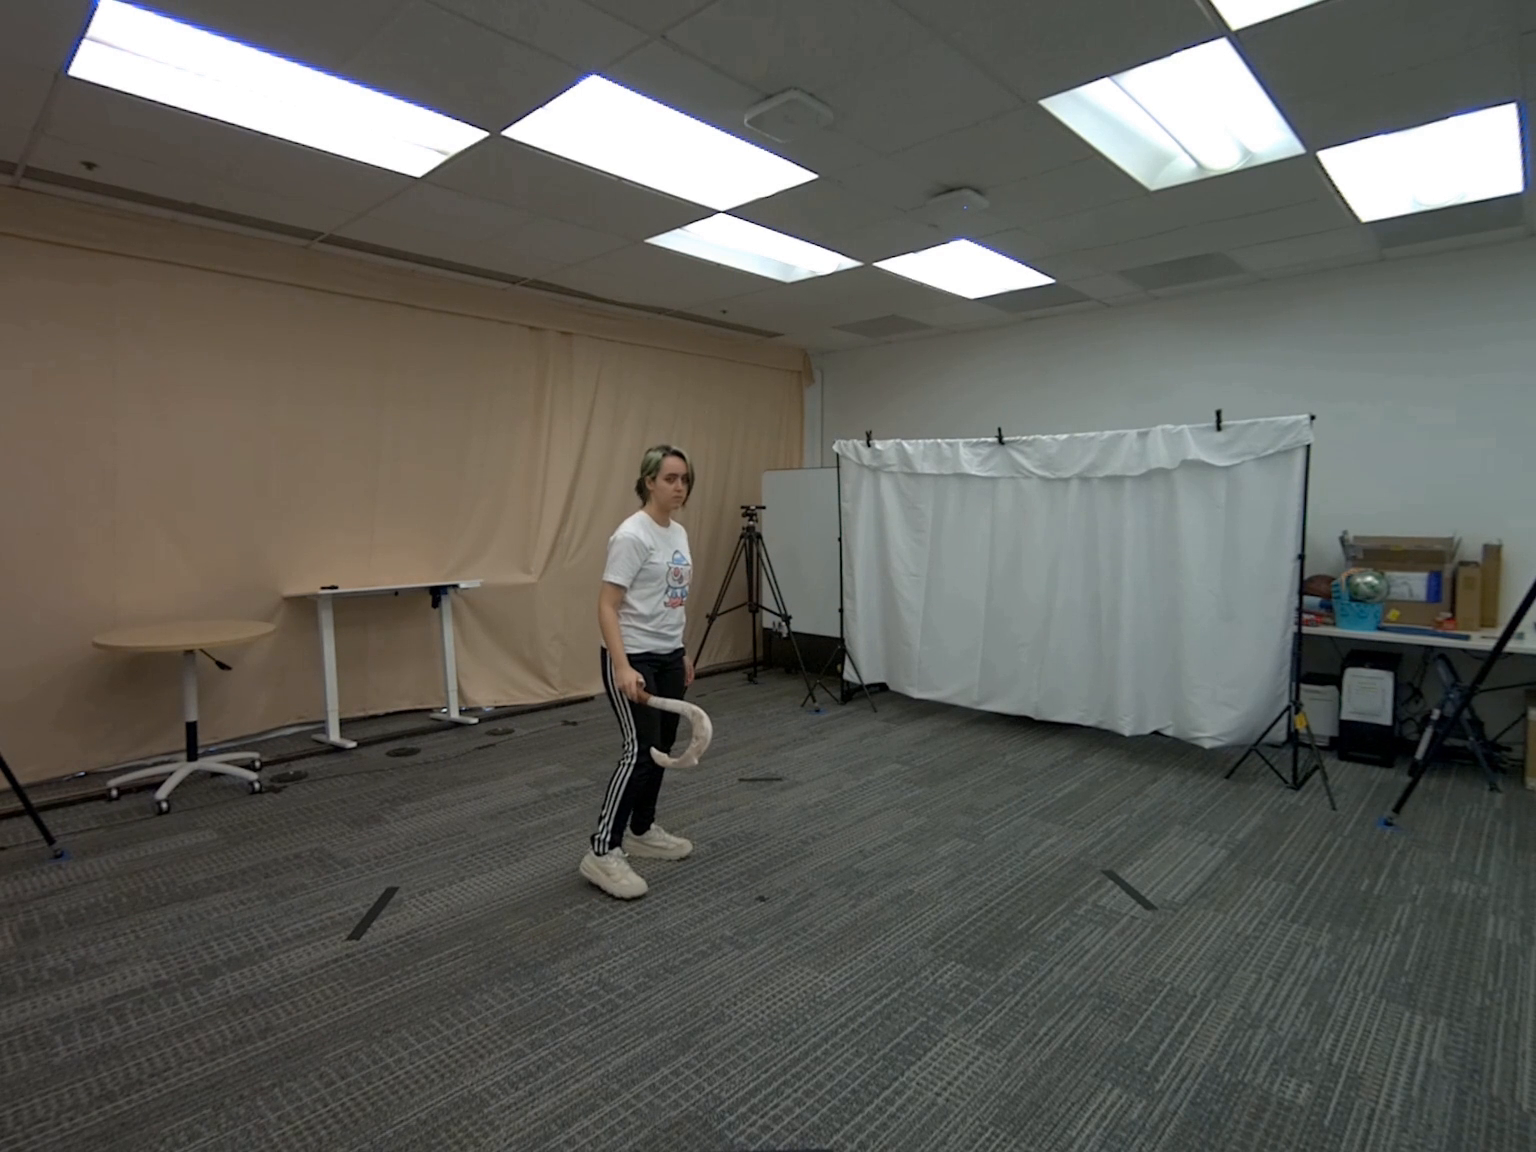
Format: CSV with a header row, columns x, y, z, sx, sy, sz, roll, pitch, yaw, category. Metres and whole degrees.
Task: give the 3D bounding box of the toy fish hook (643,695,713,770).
x,y,z,sx,sy,sz,roll,pitch,yaw,category
-0.391,0.478,2.869,0.525,0.224,0.046,20,-19,41,toy fish hook
